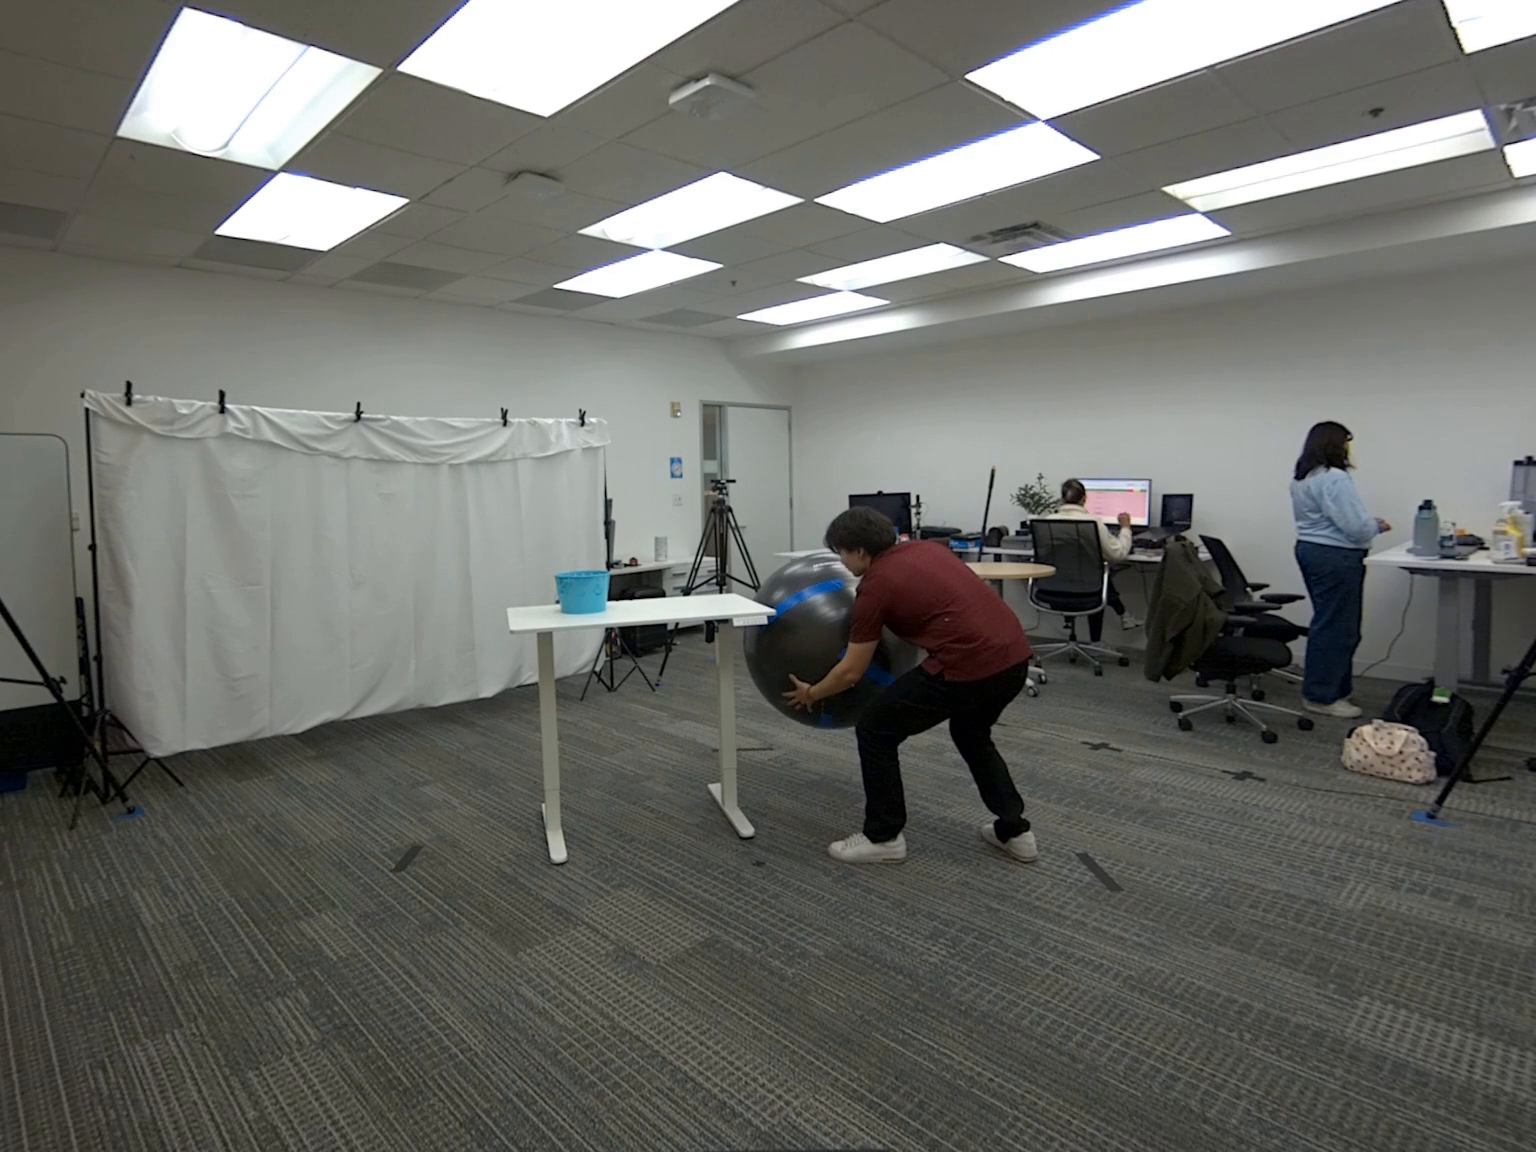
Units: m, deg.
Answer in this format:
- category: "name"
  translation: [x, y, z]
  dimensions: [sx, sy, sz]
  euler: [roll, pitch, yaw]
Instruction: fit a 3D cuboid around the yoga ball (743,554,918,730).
- category: "yoga ball"
  translation: [0.282, 0.286, 3.721]
  dimensions: [0.757, 0.755, 0.762]
  euler: [-1, 5, -2]
